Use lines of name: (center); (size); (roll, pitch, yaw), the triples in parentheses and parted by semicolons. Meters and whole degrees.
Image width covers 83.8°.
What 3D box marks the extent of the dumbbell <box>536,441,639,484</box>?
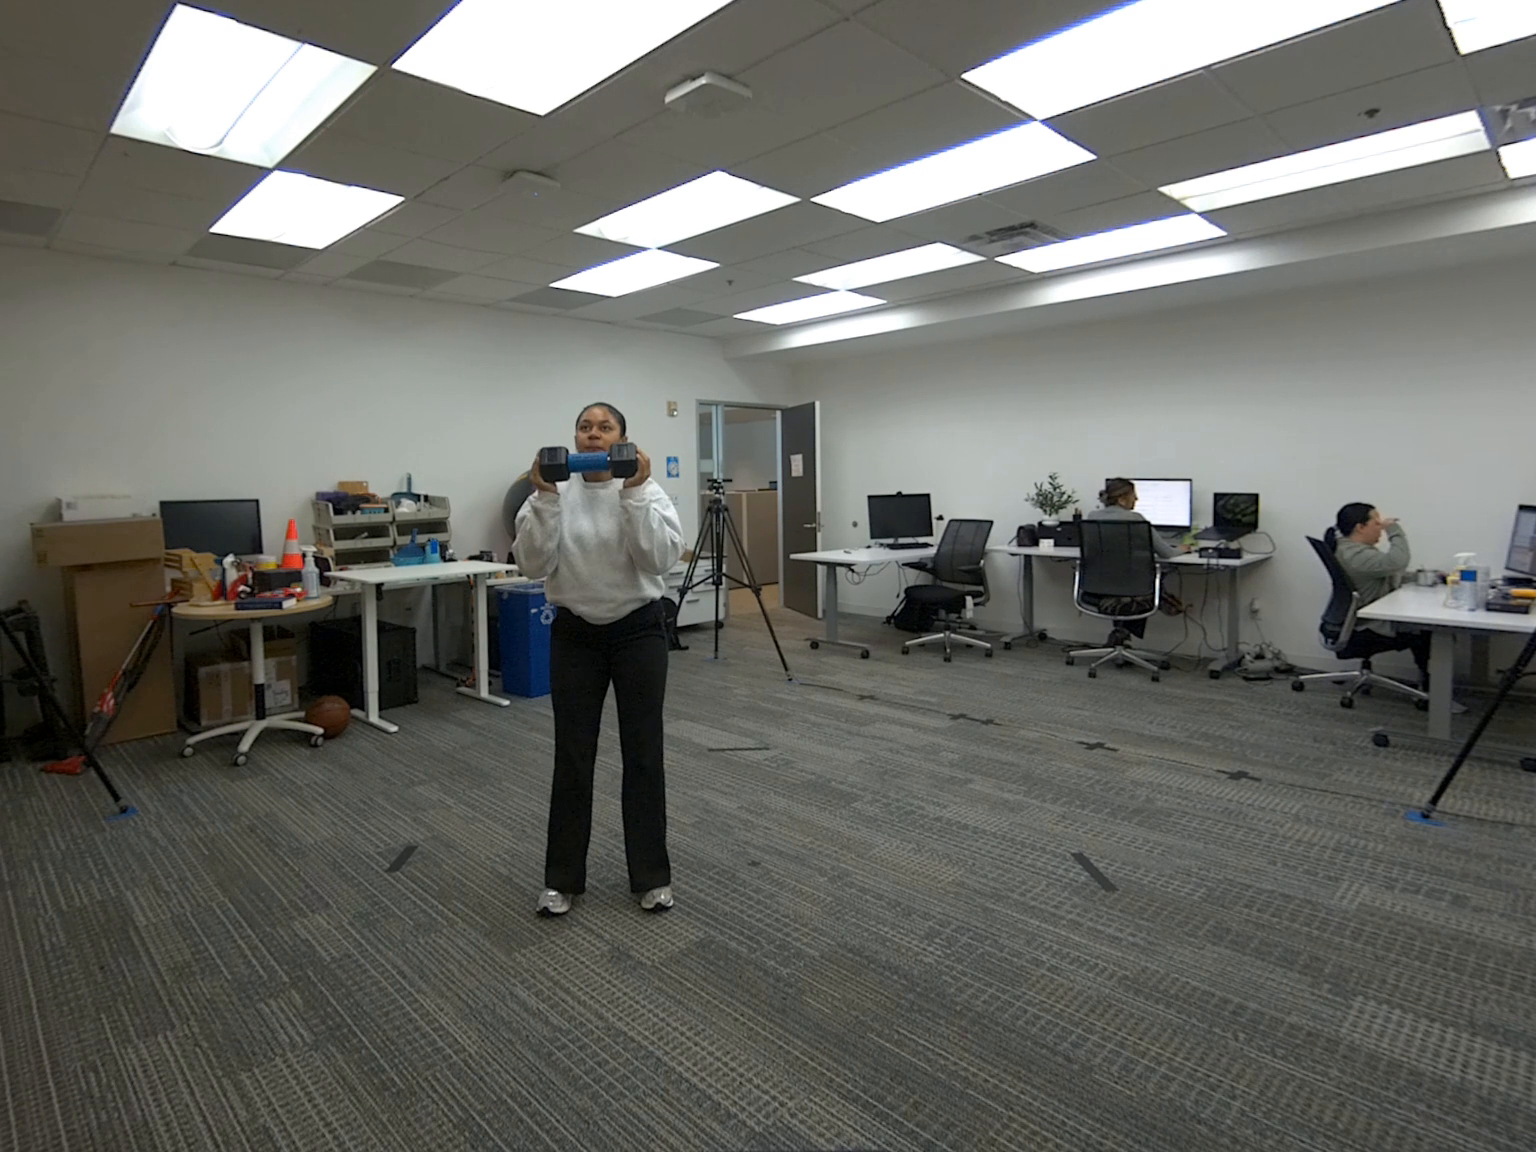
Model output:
dumbbell: (-0.545, -0.334, 2.609); (0.293, 0.126, 0.106); (-4, -28, -1)
